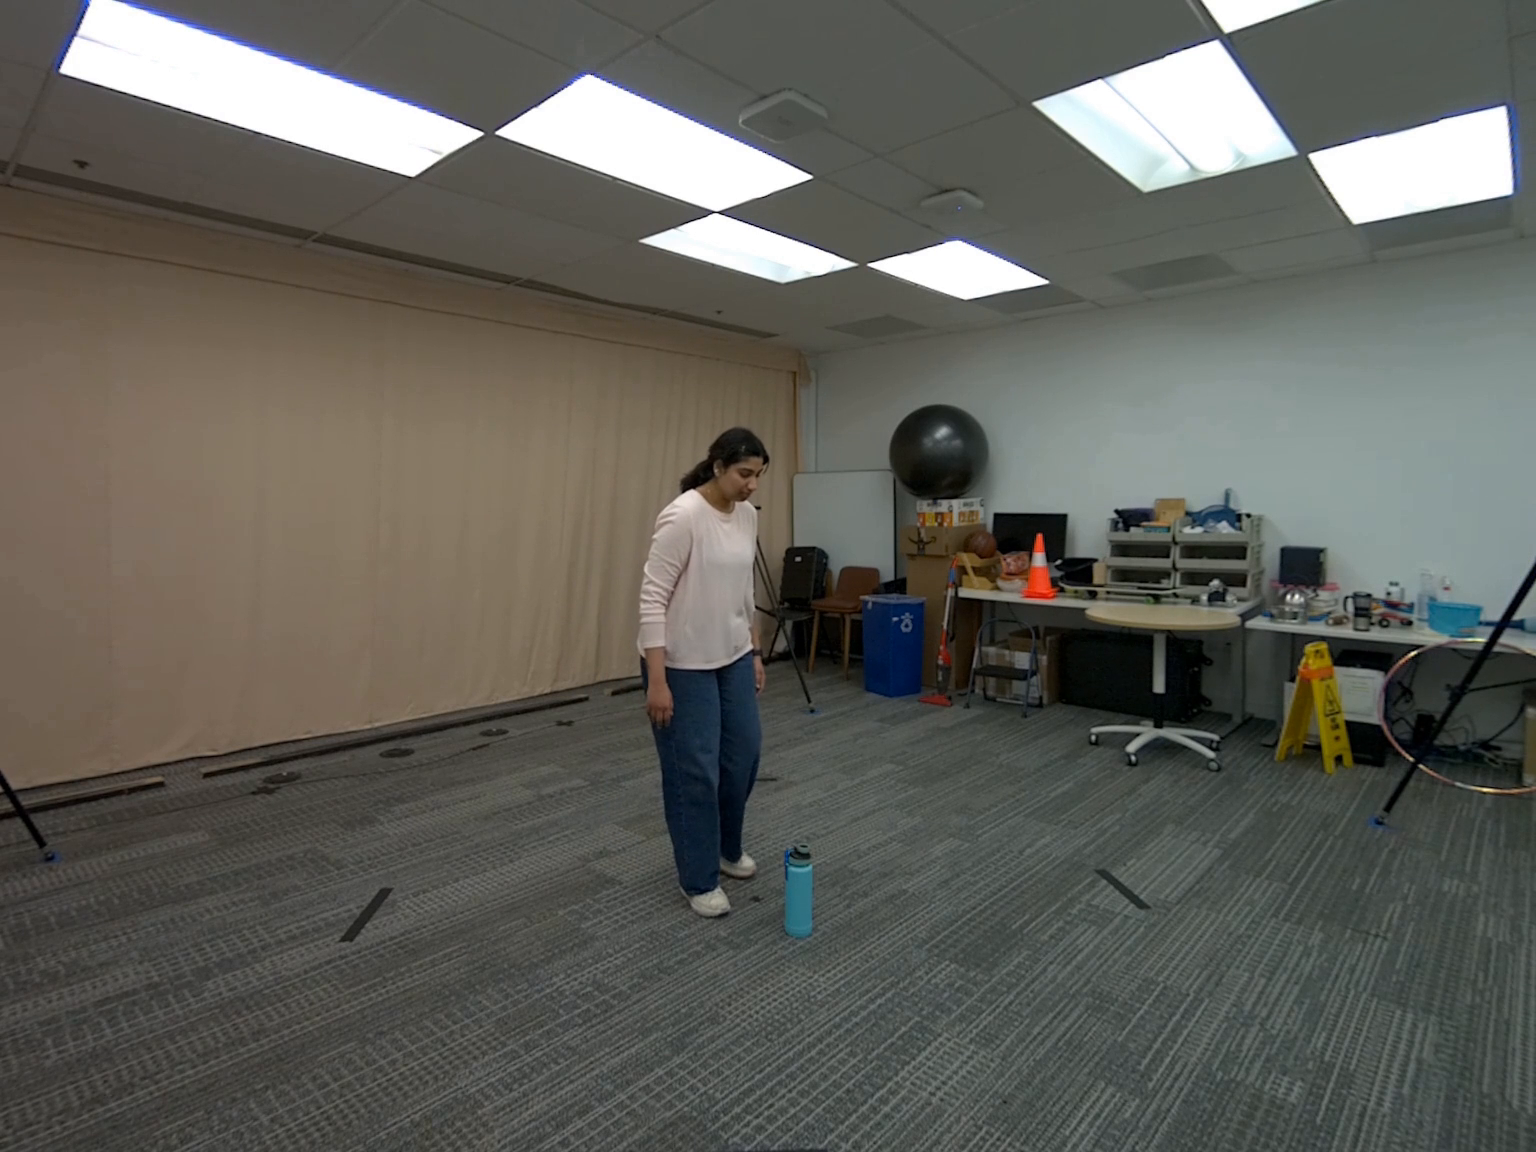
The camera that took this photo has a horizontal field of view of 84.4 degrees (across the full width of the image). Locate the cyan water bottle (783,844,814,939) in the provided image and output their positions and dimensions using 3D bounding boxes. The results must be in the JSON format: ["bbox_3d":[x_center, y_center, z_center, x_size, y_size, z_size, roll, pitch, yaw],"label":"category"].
[{"bbox_3d":[0.105,1.023,2.752,0.092,0.283,0.092,0,2,-2],"label":"cyan water bottle"}]
